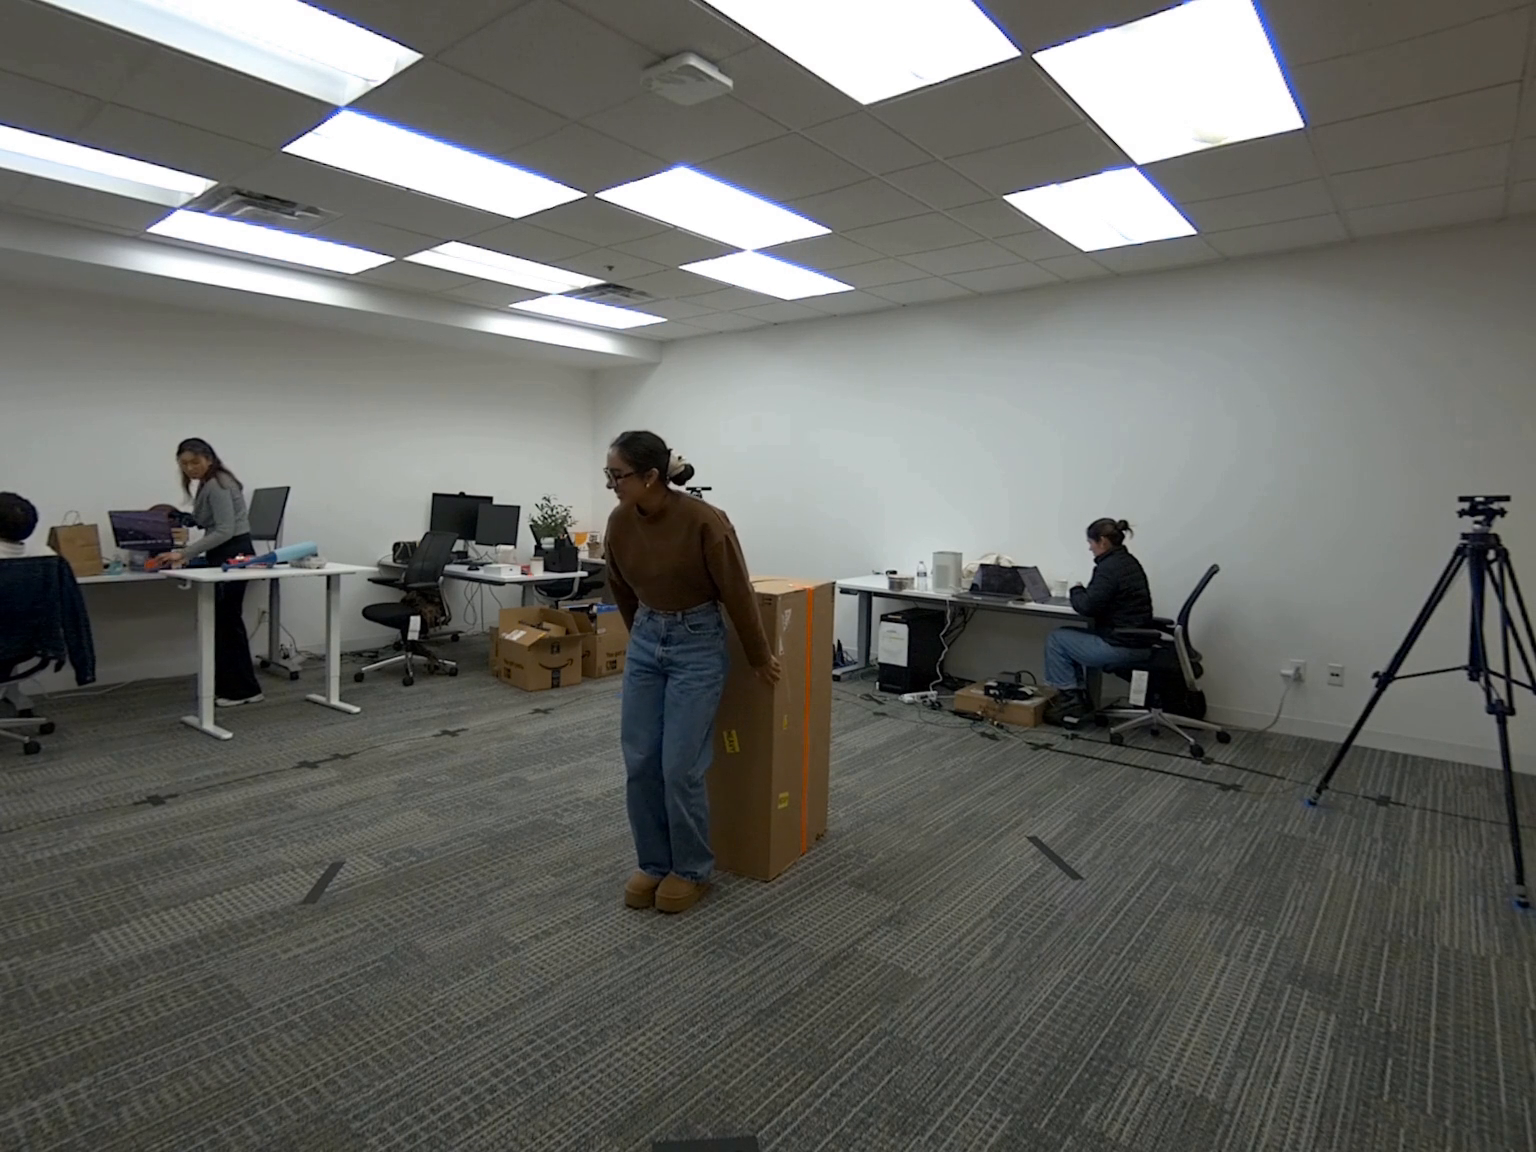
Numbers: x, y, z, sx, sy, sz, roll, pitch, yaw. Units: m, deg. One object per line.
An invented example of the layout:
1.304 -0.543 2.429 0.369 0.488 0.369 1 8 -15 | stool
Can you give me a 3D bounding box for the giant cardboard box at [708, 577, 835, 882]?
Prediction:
-0.053 0.540 3.328 0.459 1.024 0.570 2 3 25 | giant cardboard box
